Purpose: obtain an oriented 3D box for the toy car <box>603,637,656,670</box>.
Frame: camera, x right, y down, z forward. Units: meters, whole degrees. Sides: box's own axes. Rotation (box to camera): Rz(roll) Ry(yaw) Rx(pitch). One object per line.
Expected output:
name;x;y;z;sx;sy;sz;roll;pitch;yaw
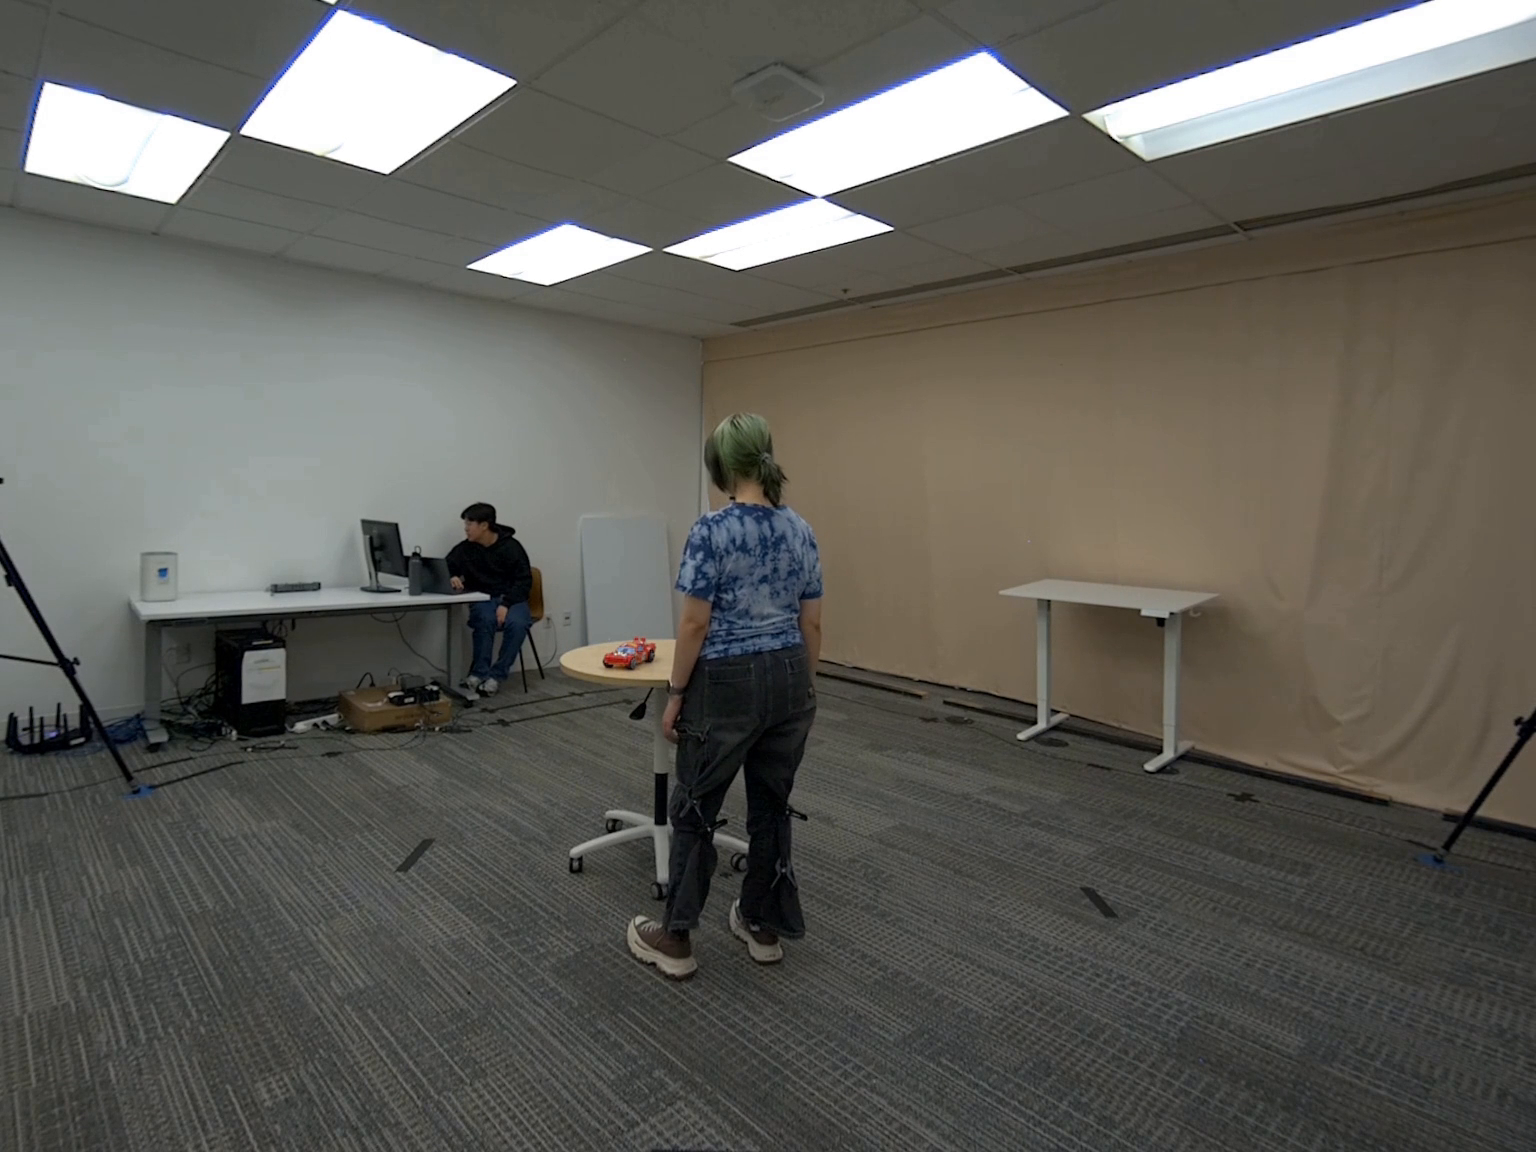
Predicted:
toy car;-0.505;0.288;3.054;0.132;0.082;0.254;2;17;18
